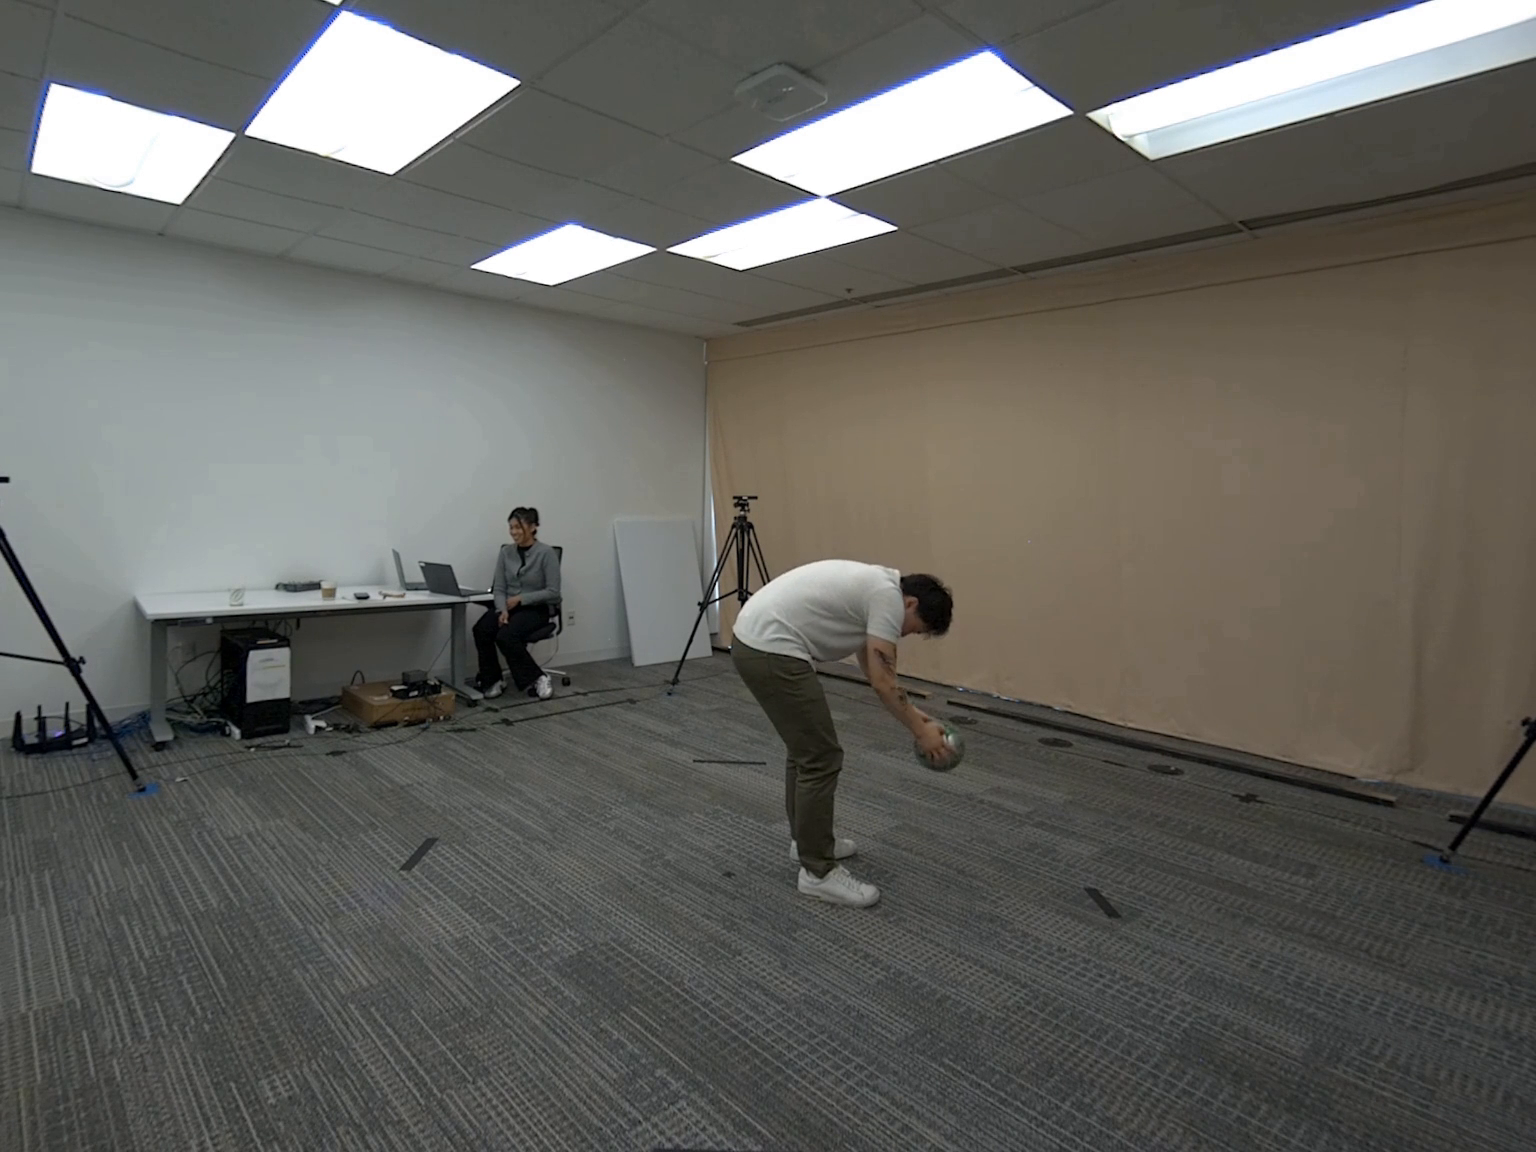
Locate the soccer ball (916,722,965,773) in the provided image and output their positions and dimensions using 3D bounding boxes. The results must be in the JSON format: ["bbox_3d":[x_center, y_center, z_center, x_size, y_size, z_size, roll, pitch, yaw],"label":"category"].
[{"bbox_3d":[0.616,0.607,3.095,0.187,0.187,0.188,1,4,-1],"label":"soccer ball"}]
